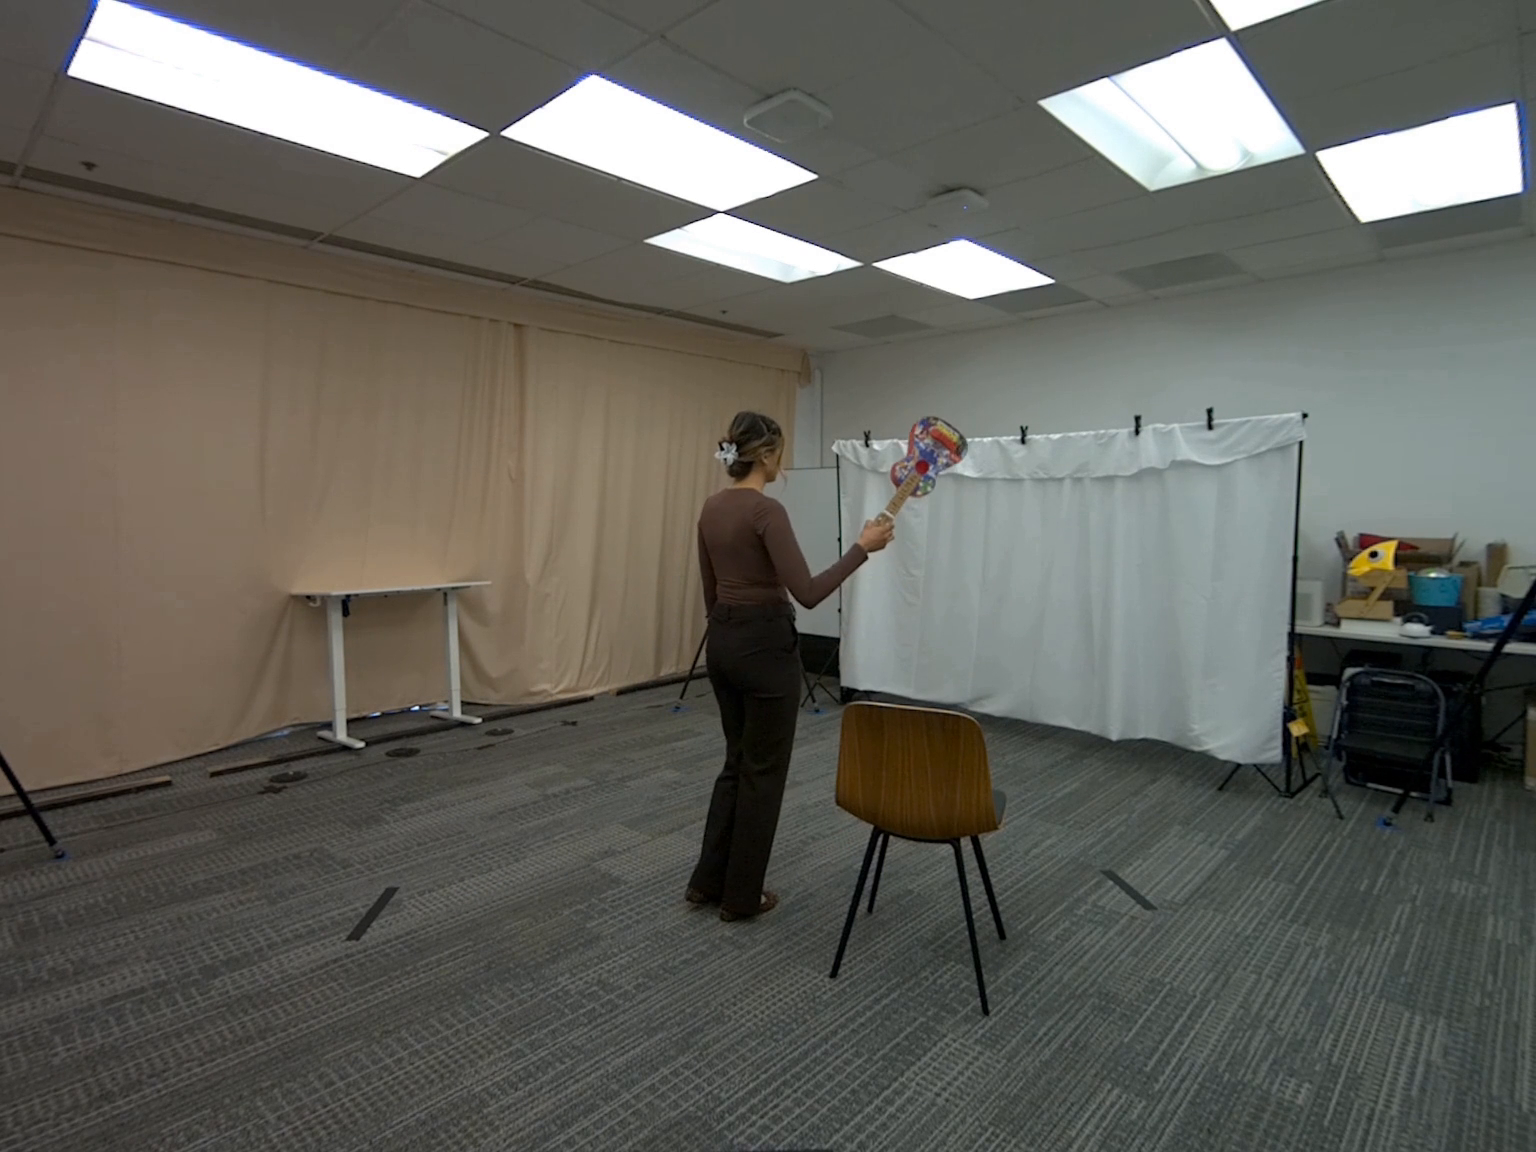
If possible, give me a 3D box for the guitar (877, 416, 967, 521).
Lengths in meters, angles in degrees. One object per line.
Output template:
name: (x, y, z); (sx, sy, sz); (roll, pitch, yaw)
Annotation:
guitar: (0.449, -0.313, 2.795); (0.193, 0.497, 0.071); (43, -3, 0)
